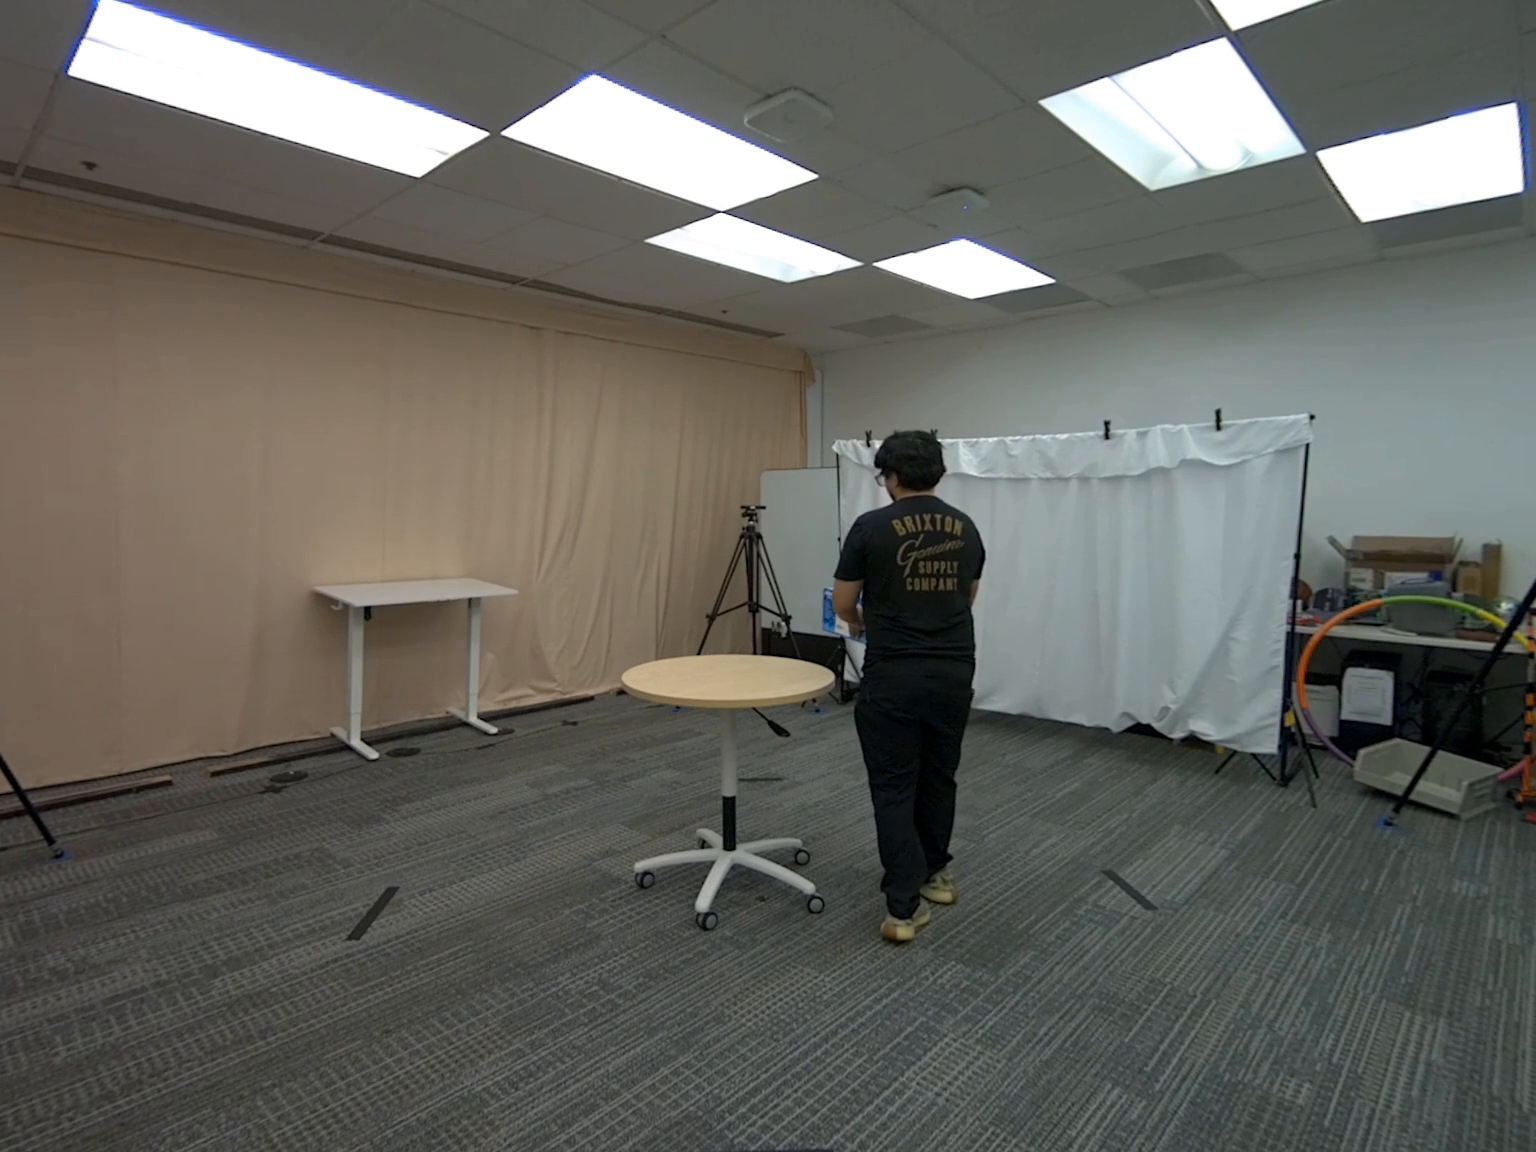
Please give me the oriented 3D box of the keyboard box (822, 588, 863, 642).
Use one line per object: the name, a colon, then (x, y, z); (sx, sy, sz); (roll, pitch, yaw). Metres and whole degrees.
keyboard box: (0.350, 0.159, 3.200); (0.057, 0.175, 0.450); (-1, 8, -28)
